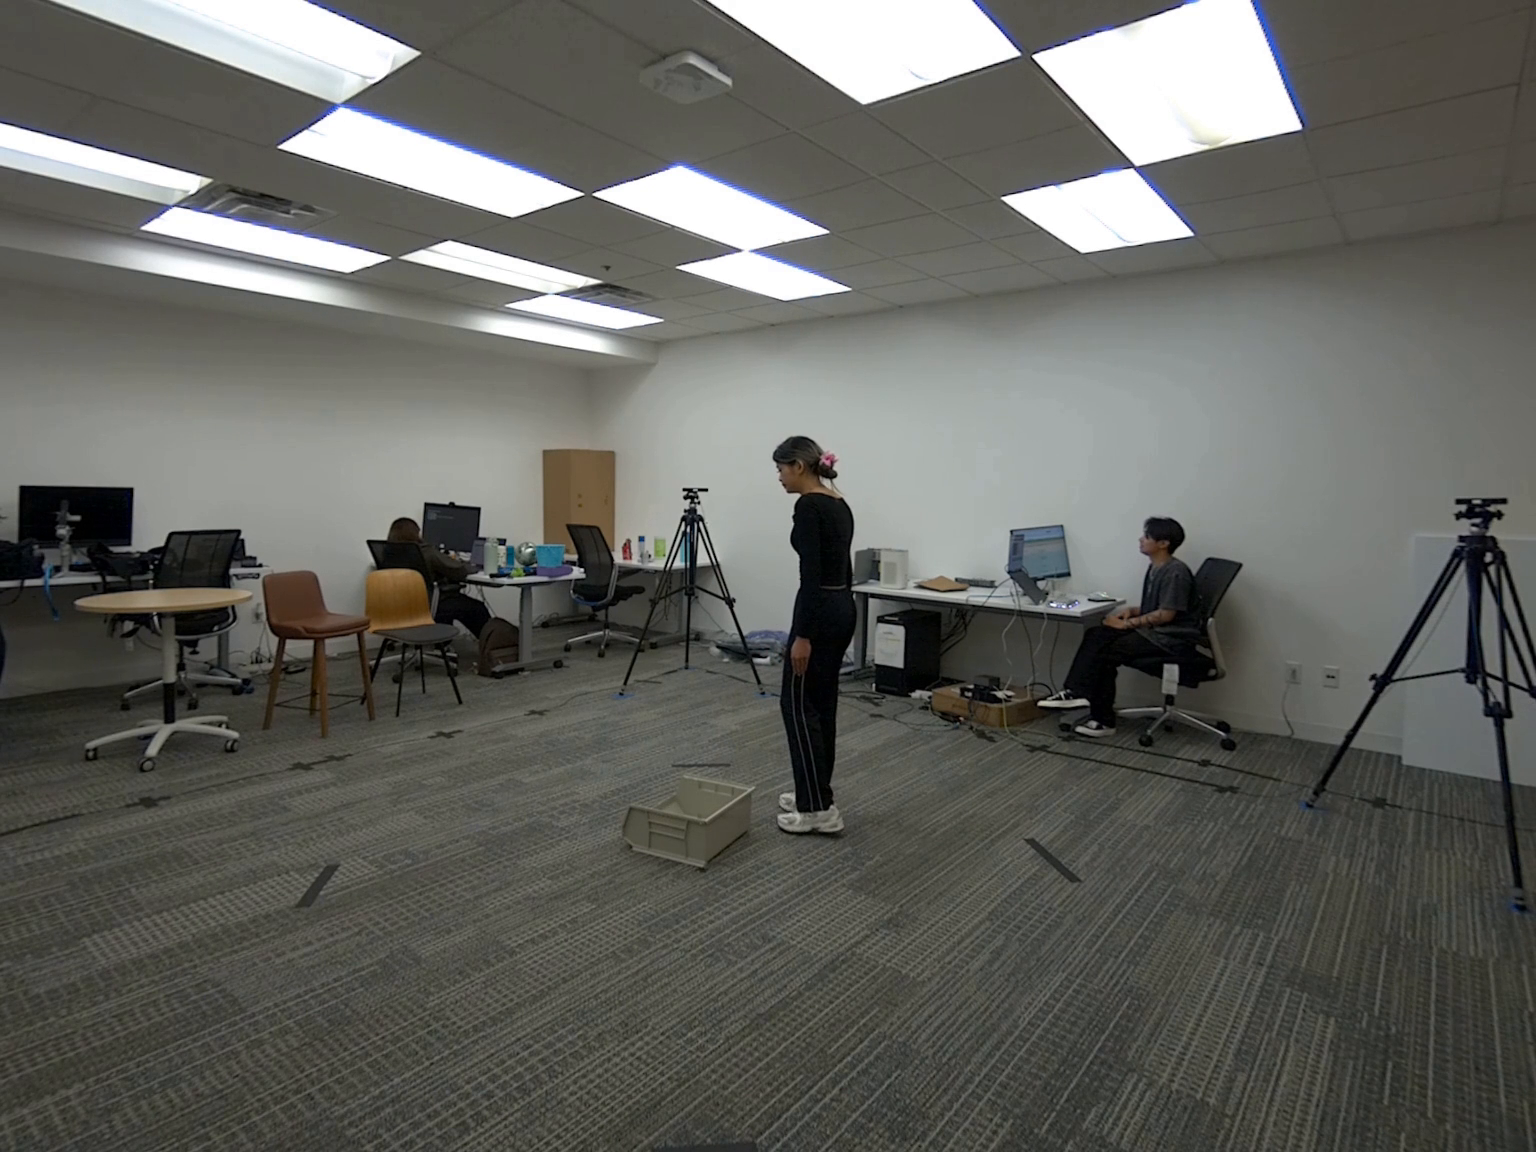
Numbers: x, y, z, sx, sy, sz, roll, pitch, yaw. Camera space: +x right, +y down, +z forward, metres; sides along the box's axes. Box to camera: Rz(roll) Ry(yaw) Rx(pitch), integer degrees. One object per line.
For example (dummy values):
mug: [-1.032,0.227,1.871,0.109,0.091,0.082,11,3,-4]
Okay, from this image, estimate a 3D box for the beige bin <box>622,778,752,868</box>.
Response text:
beige bin: [-0.320,0.956,3.375,0.388,0.188,0.412,4,5,26]
